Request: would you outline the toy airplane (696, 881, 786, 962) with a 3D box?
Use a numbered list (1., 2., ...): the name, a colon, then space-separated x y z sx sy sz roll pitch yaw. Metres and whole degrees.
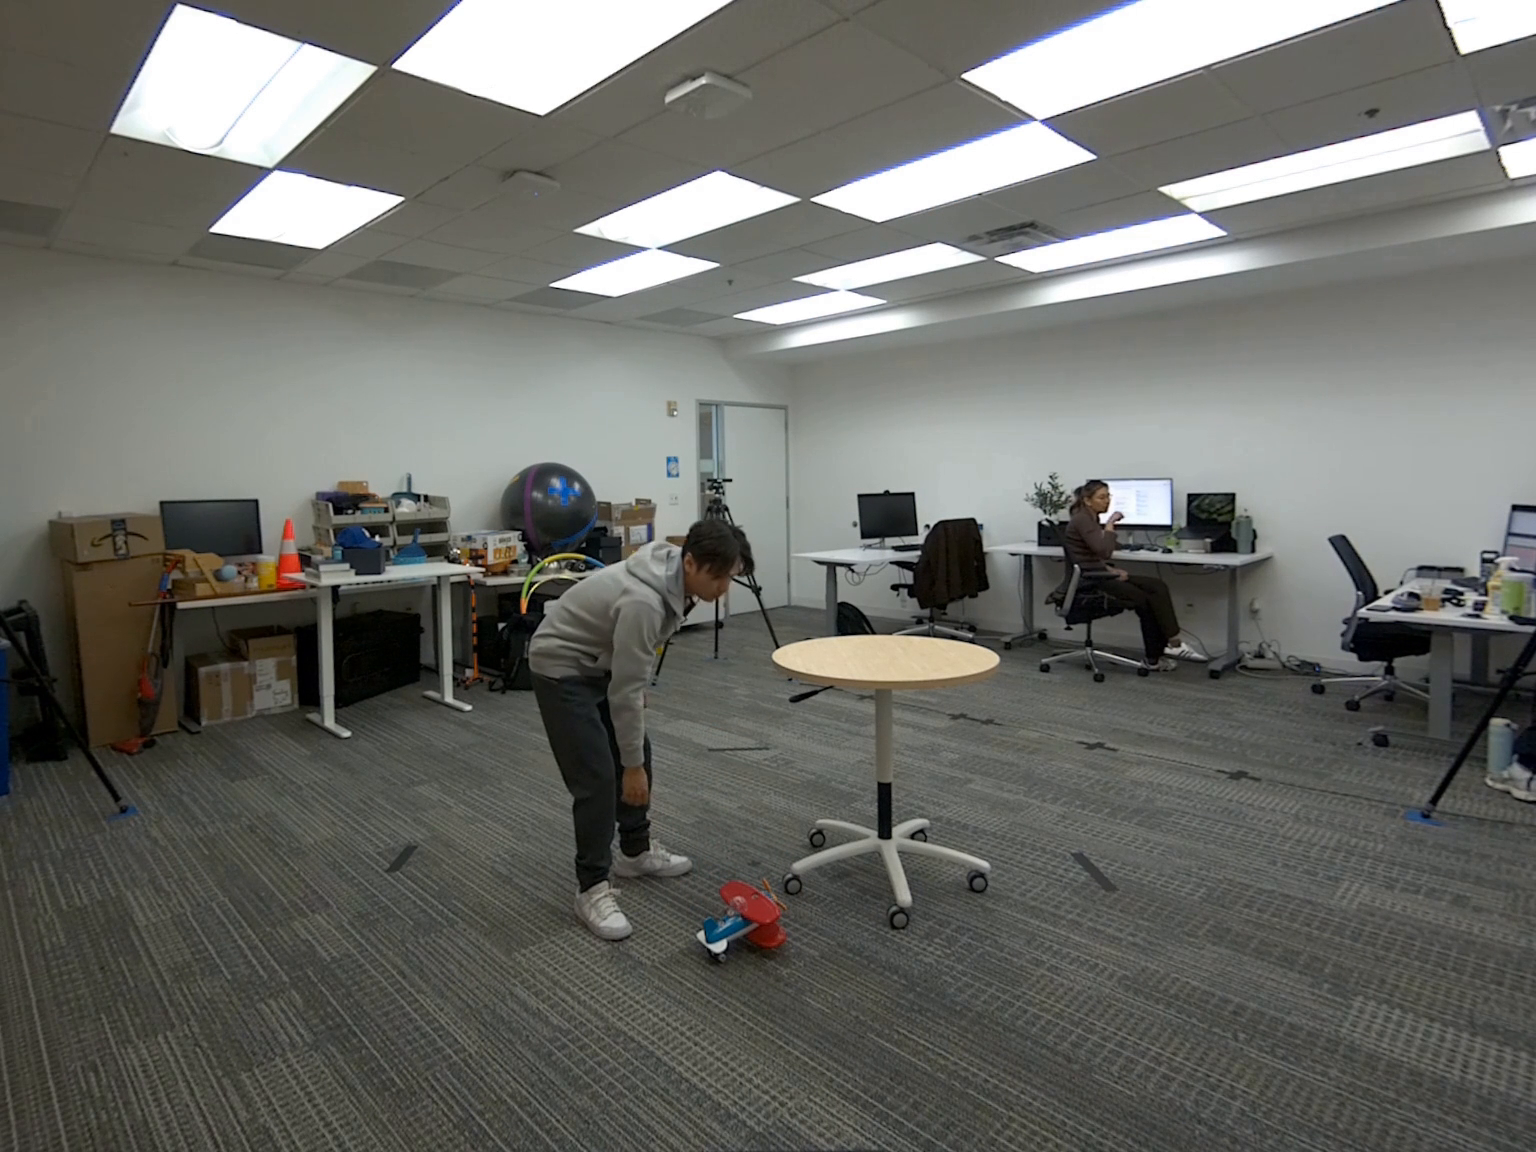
1. toy airplane: -0.065 1.037 2.531 0.257 0.156 0.254 3 6 28
